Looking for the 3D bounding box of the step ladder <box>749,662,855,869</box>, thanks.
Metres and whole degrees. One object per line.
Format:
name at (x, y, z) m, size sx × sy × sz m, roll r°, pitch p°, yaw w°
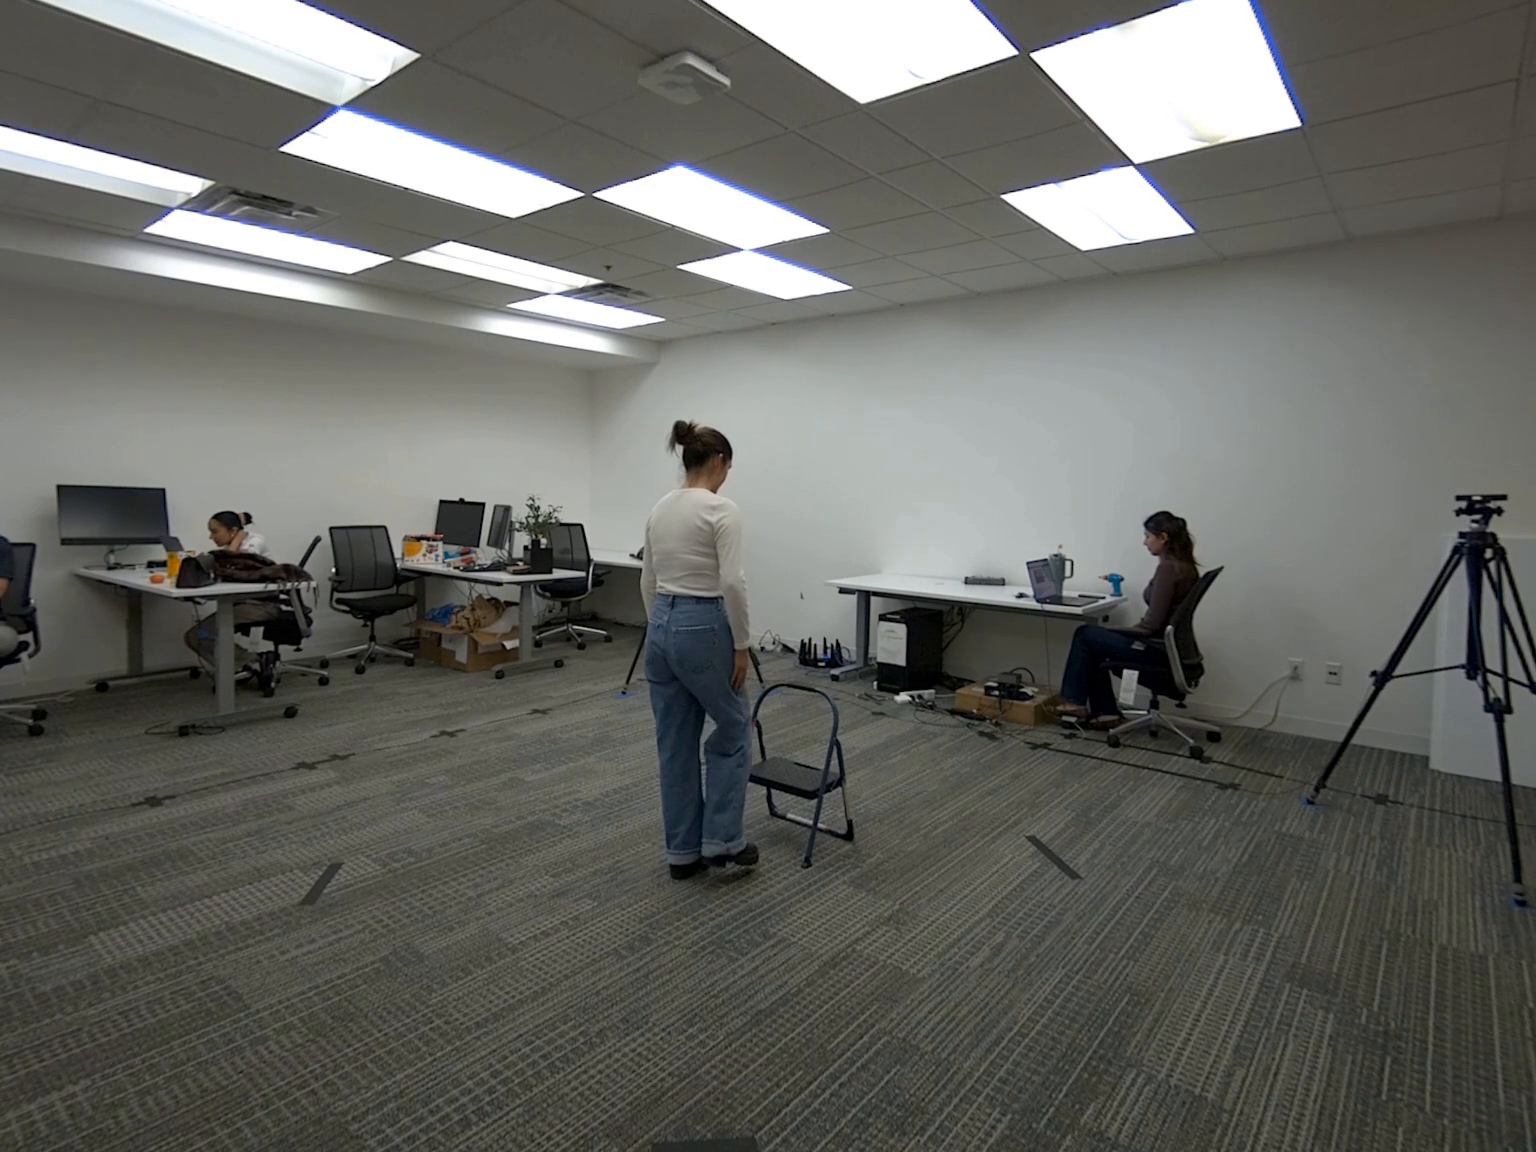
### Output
step ladder at (0.076, 0.740, 3.372) m, size 0.445 × 0.604 × 0.339 m, roll 4°, pitch 5°, yaw 38°
